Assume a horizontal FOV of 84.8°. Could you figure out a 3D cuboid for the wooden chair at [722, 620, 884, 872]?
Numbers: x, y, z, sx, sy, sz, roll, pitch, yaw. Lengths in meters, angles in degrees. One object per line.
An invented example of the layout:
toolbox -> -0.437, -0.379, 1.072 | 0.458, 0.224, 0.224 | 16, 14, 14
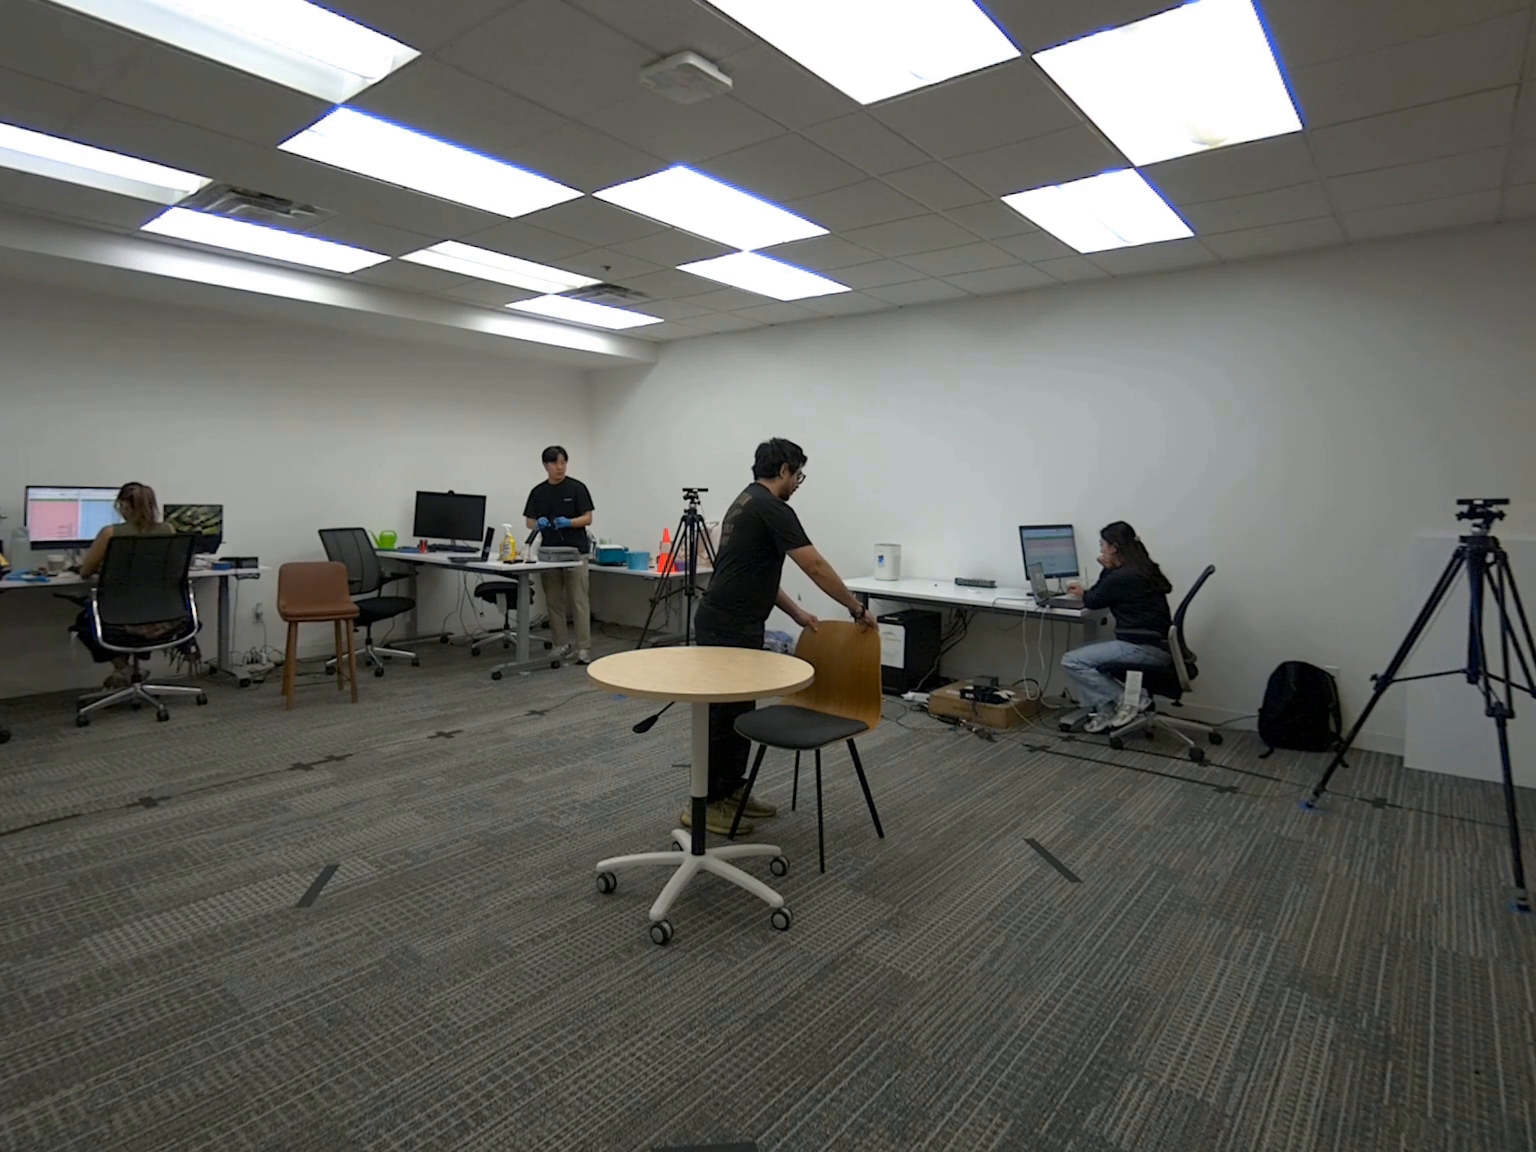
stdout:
wooden chair -> 0.160, 0.621, 3.373 | 0.494, 0.878, 0.506 | 4, 0, 38
